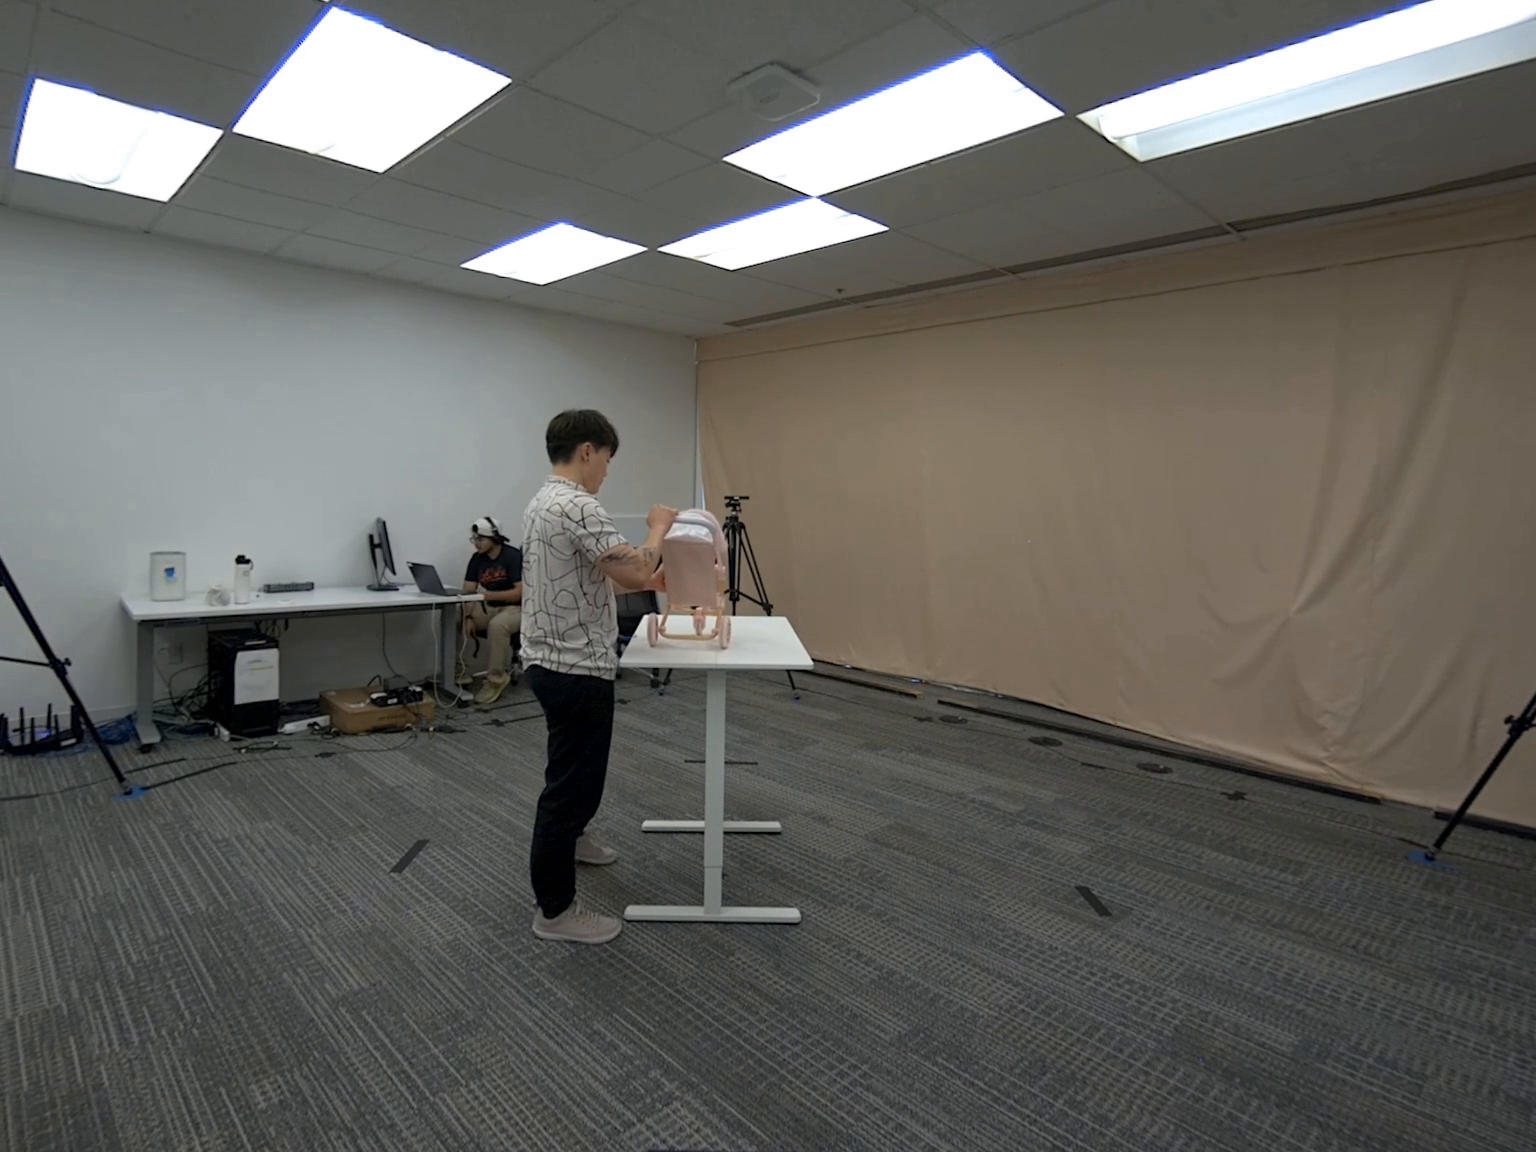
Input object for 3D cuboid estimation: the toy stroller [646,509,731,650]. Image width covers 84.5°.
[{"bbox_3d":[-0.264,0.010,2.921,0.284,0.528,0.342,3,17,10],"label":"toy stroller"}]
